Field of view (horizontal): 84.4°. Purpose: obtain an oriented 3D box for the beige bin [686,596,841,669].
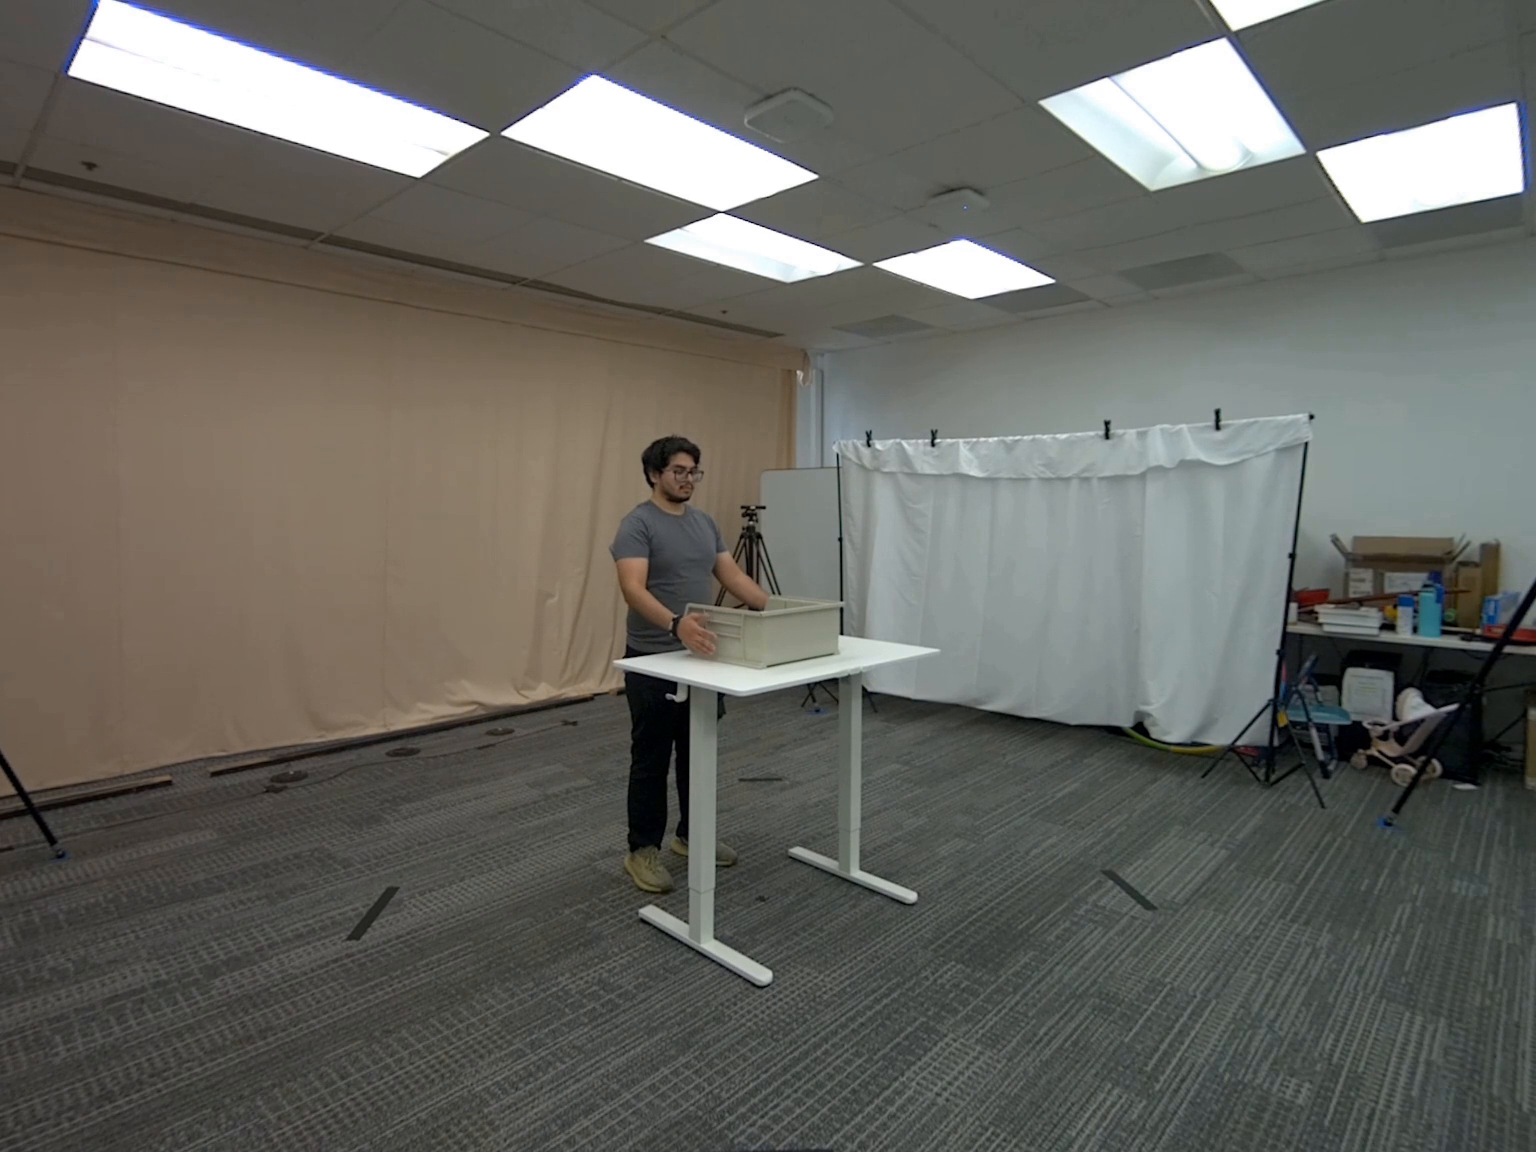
[{"bbox_3d":[-0.010,0.186,2.860,0.390,0.188,0.409,6,7,42],"label":"beige bin"}]
